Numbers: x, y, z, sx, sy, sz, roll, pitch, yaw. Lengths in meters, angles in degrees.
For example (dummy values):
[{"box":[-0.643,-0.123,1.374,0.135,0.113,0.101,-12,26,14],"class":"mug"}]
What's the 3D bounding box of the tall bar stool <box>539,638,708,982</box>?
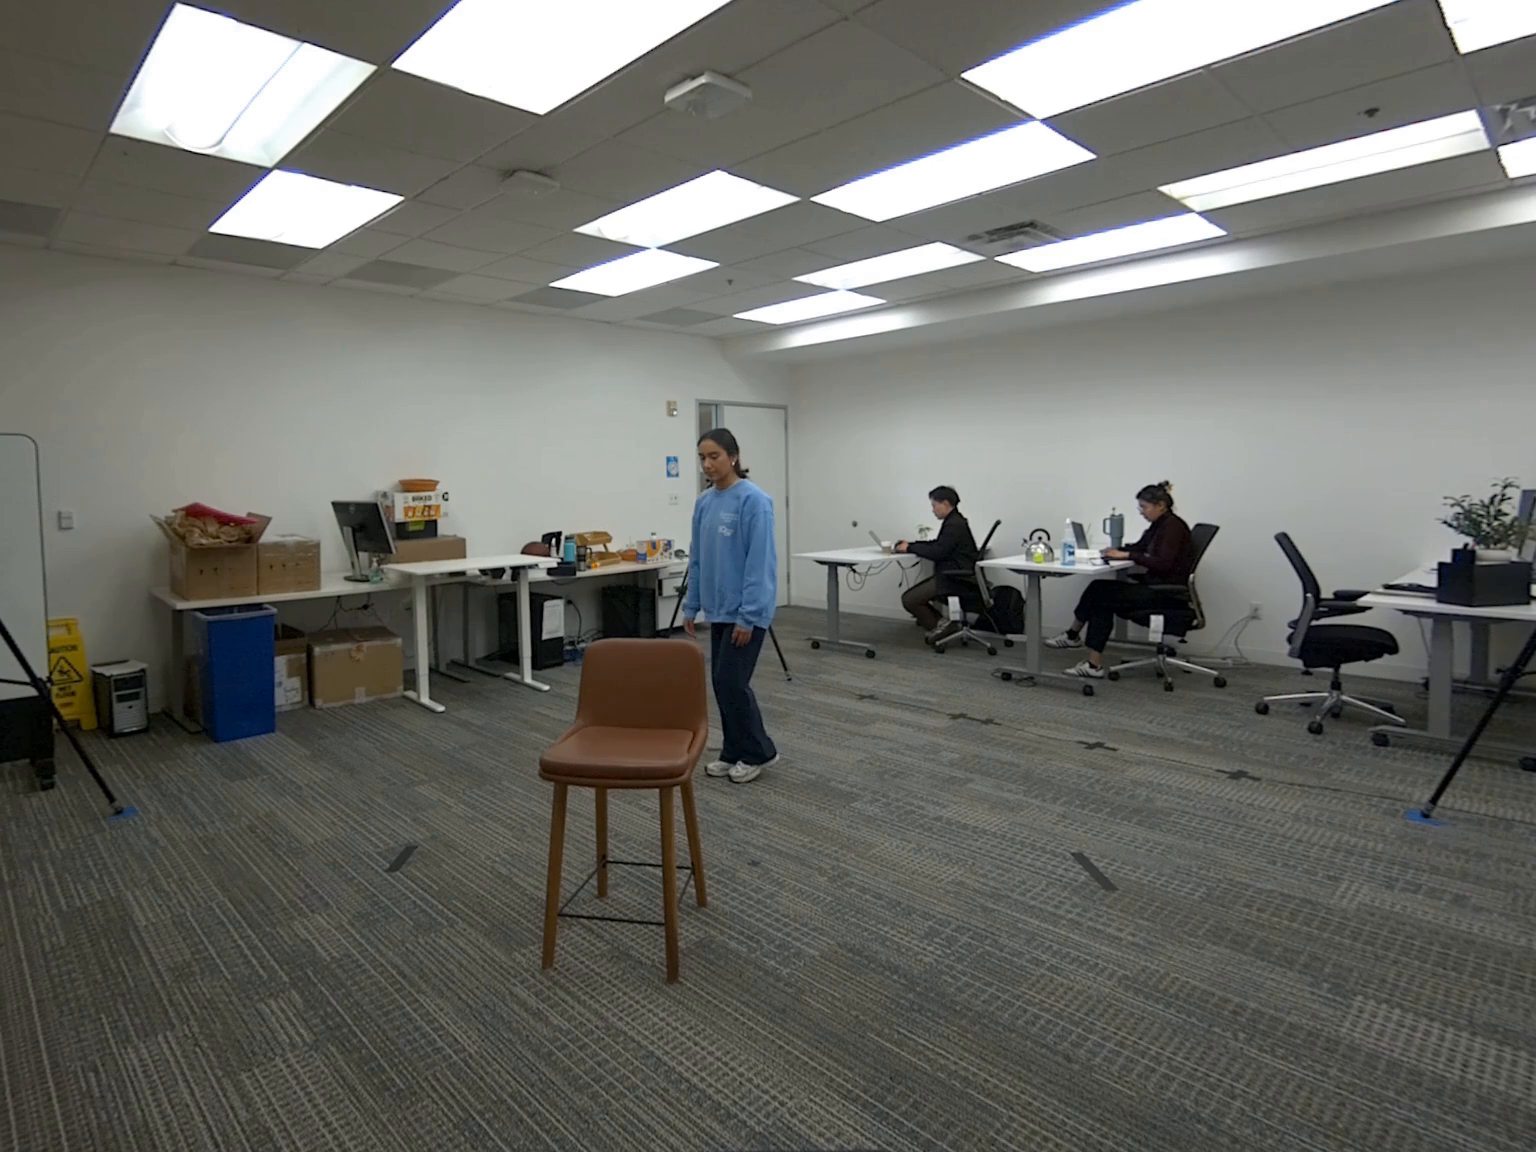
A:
[{"box":[-0.424,0.672,2.615,0.462,0.887,0.463,0,3,11],"class":"tall bar stool"}]
